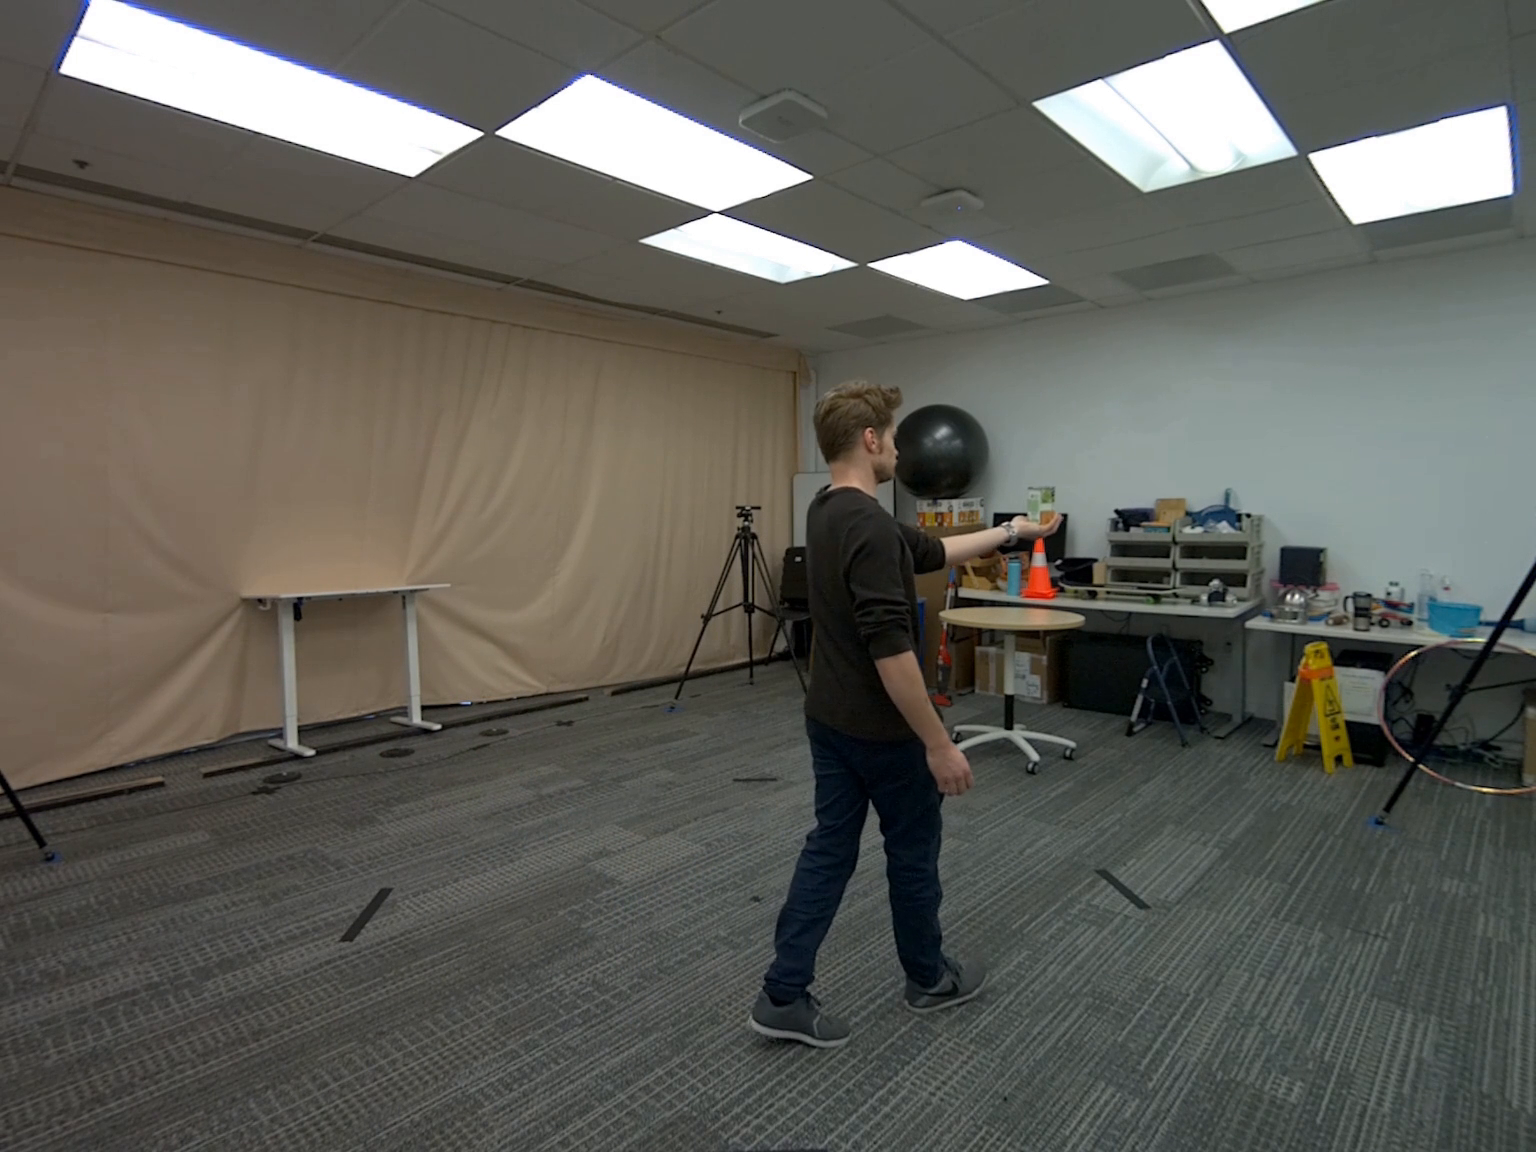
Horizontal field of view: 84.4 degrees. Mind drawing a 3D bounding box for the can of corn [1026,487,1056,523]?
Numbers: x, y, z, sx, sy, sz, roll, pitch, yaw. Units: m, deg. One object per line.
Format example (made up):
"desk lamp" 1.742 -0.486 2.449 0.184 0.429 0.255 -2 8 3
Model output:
"can of corn" 0.811 -0.200 2.436 0.074 0.111 0.074 -1 5 -2
